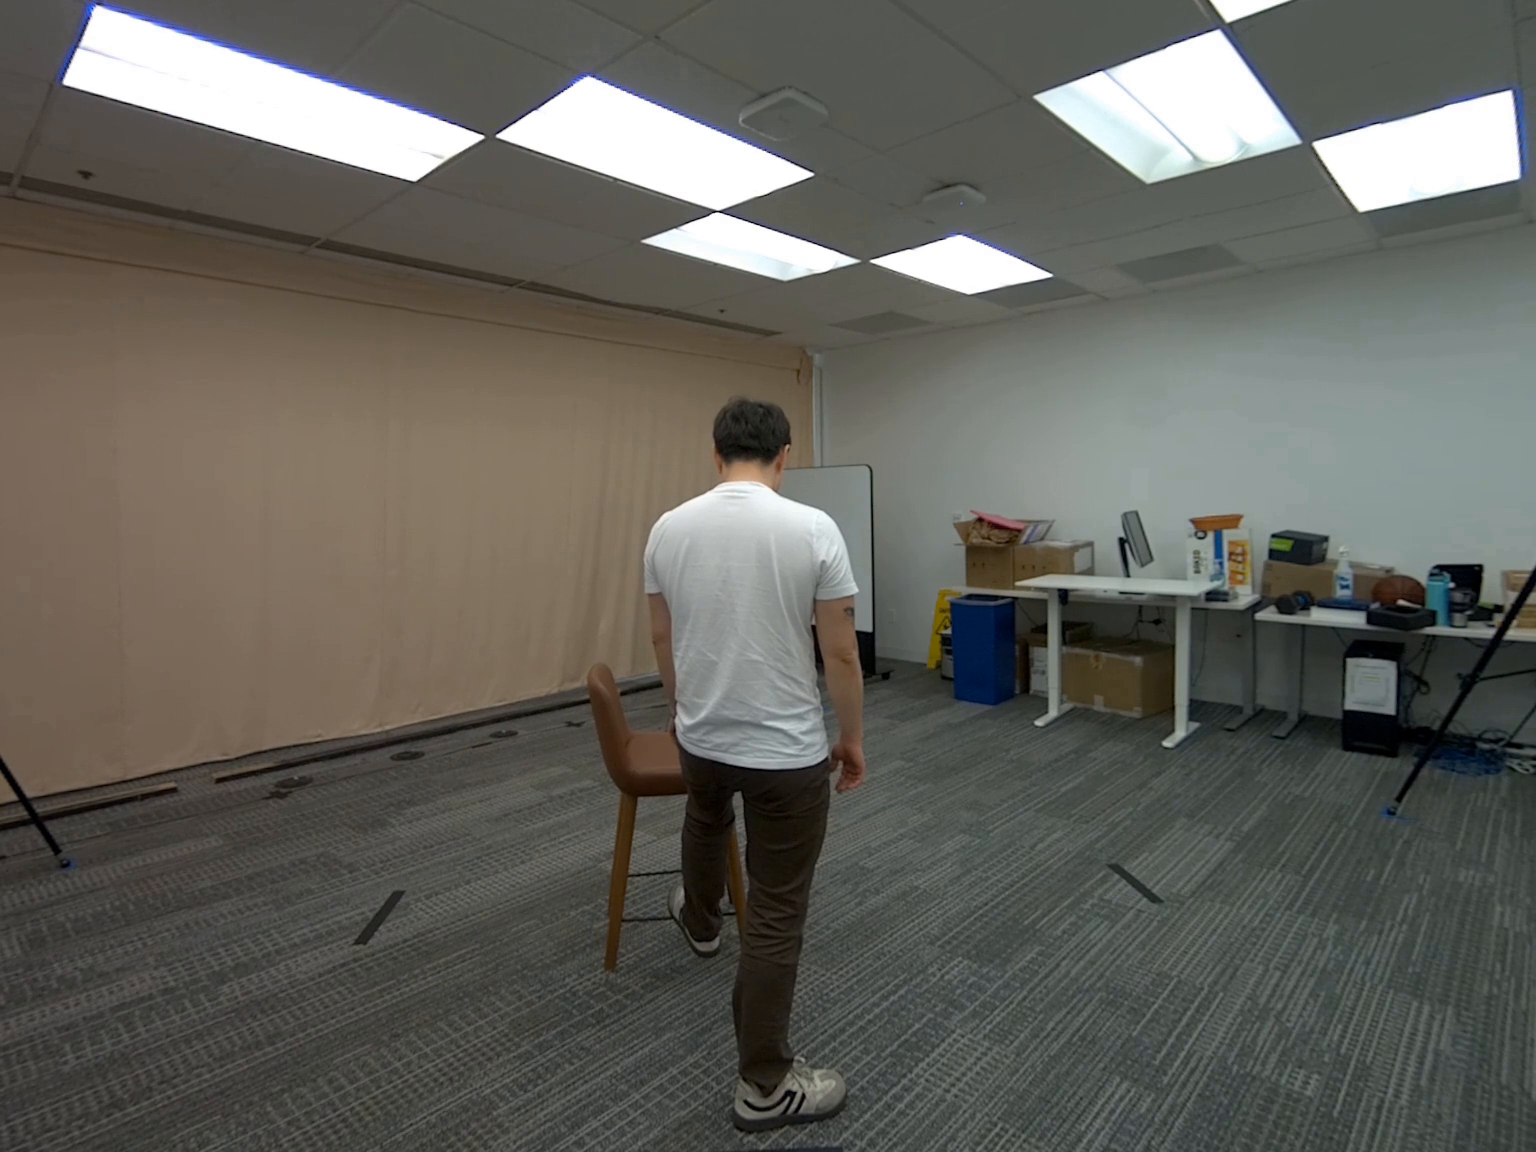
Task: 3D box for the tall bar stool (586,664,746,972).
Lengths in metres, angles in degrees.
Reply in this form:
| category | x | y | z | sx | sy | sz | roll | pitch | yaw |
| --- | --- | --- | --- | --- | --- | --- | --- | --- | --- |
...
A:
| category | x | y | z | sx | sy | sz | roll | pitch | yaw |
| --- | --- | --- | --- | --- | --- | --- | --- | --- | --- |
| tall bar stool | -0.314 | 0.734 | 2.716 | 0.464 | 0.888 | 0.461 | -3 | 3 | -7 |
